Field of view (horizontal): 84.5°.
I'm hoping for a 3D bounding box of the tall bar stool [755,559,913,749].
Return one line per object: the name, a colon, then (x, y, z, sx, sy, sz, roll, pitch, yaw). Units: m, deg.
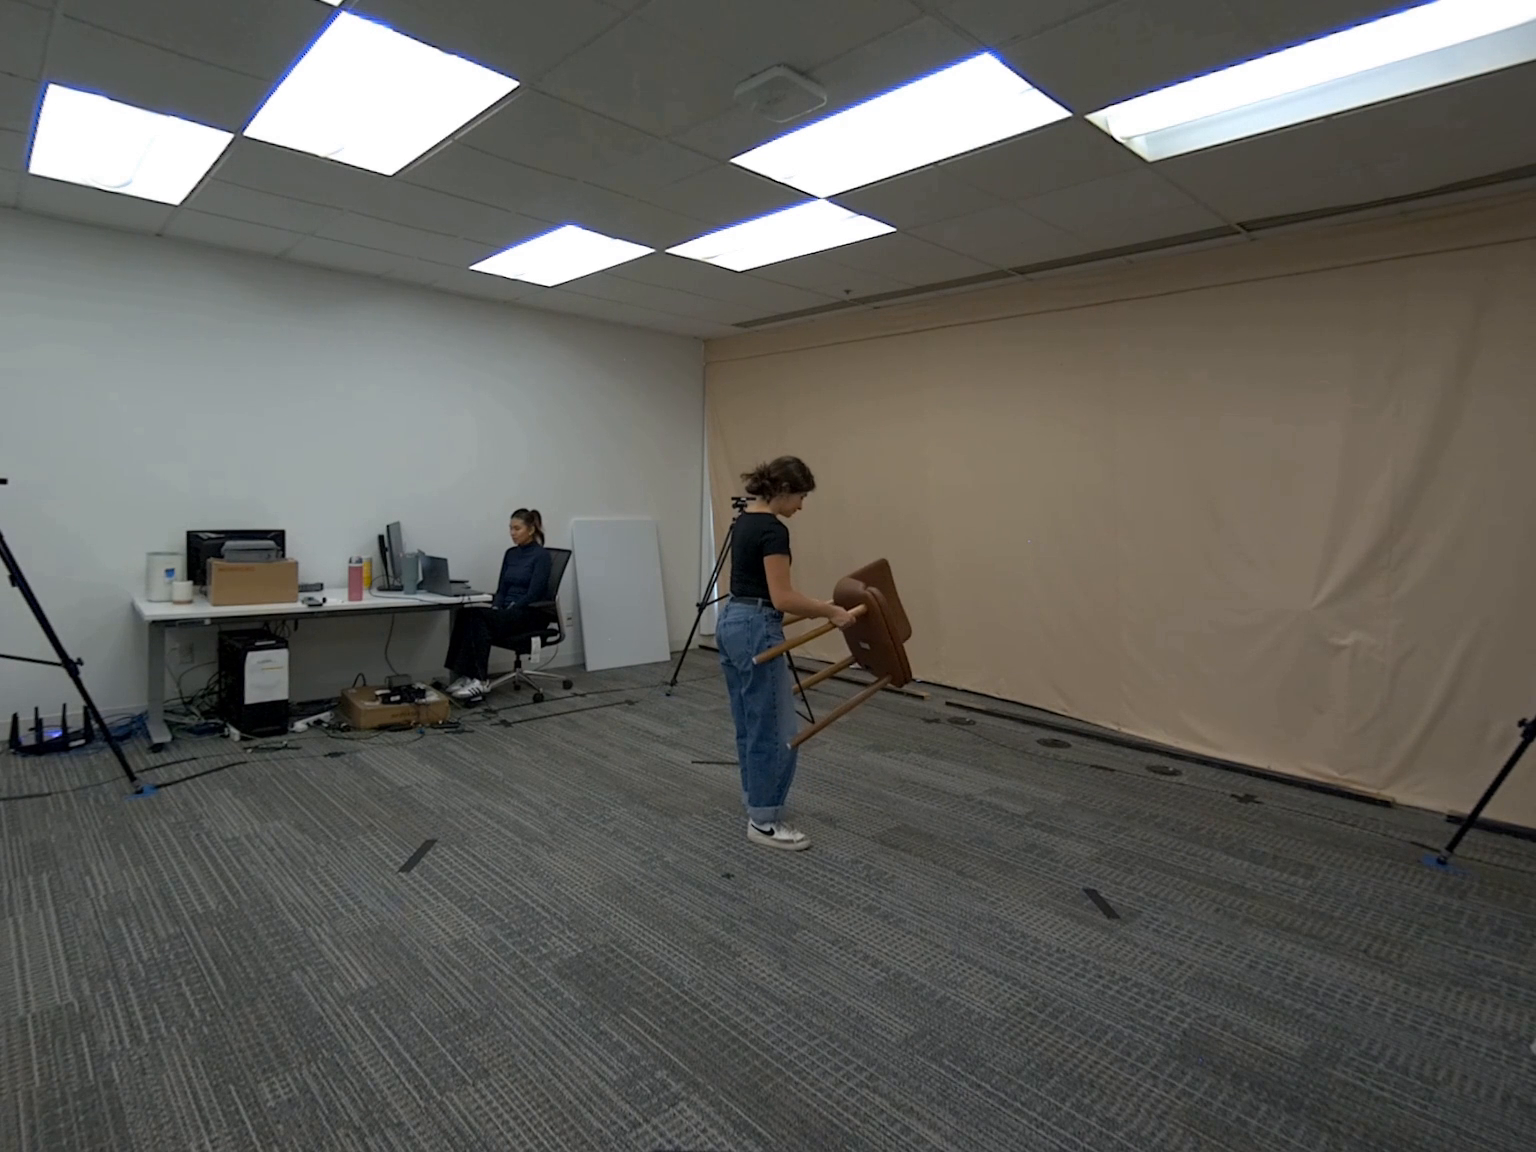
tall bar stool: (0.309, 0.297, 3.575, 0.884, 0.451, 0.477, -27, 14, -18)
